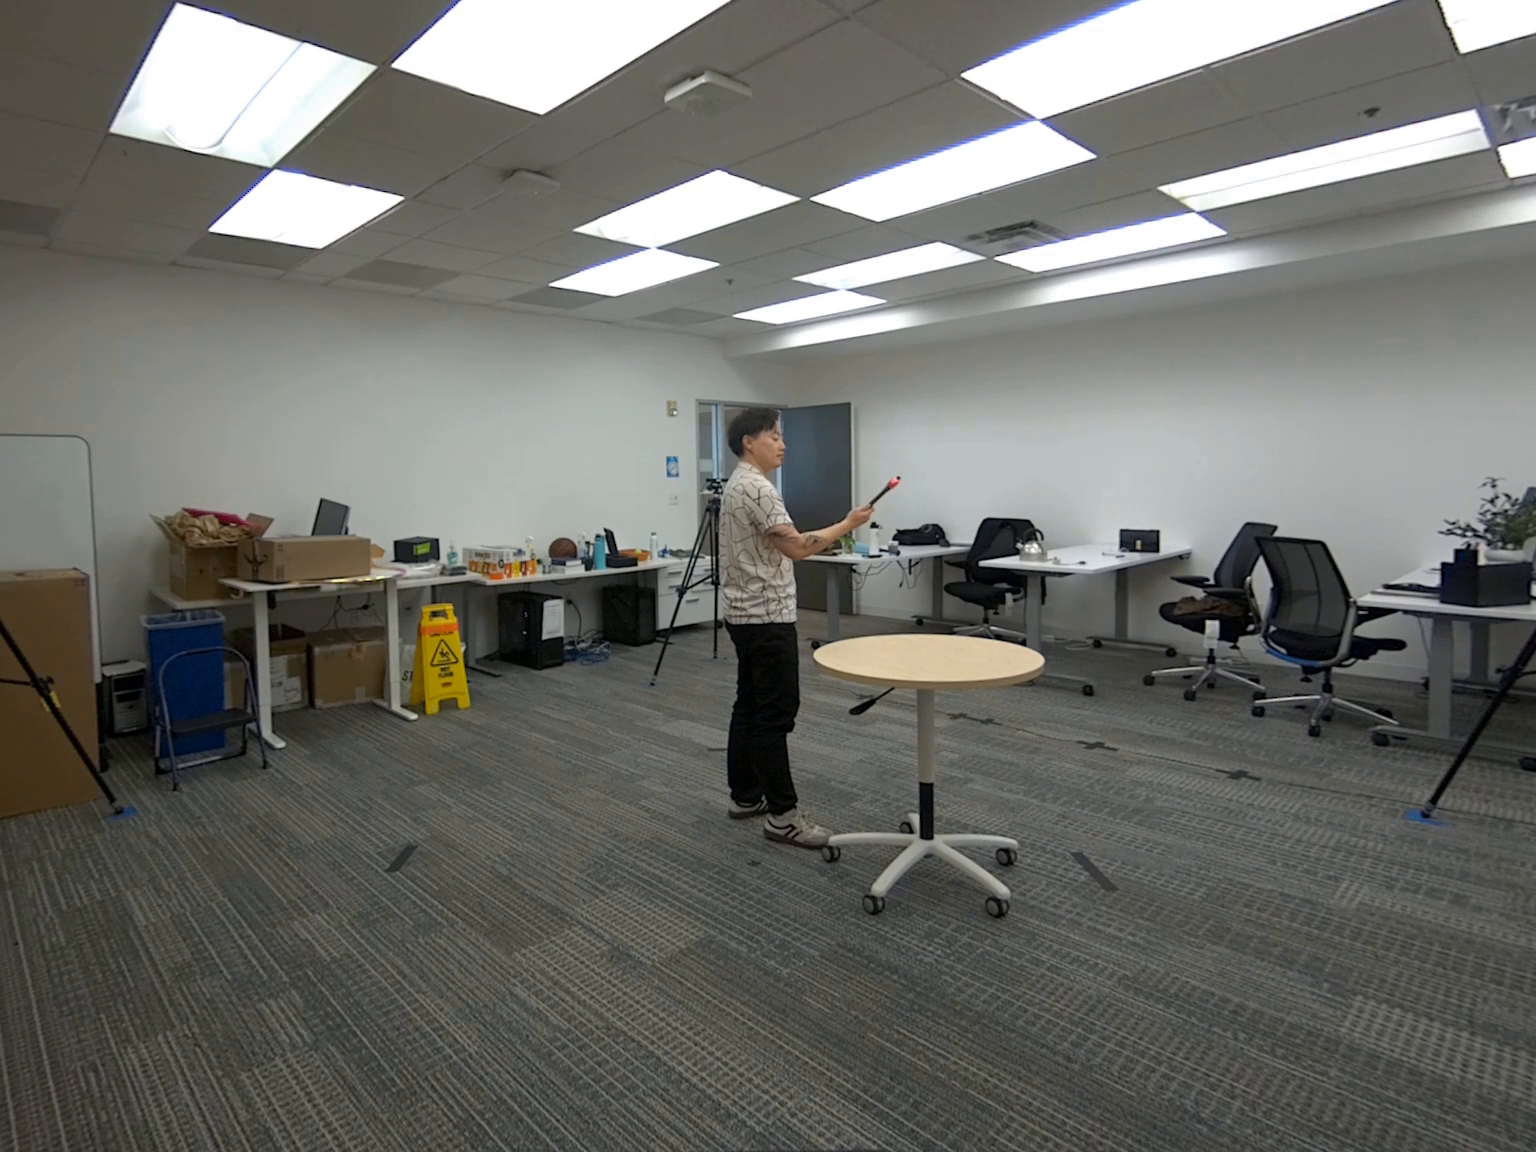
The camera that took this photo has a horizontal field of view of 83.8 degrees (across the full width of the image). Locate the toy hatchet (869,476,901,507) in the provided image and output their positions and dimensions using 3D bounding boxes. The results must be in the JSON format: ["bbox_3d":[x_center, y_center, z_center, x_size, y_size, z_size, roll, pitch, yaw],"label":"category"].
[{"bbox_3d":[0.424,-0.308,3.337,0.270,0.030,0.130,-43,-2,37],"label":"toy hatchet"}]
